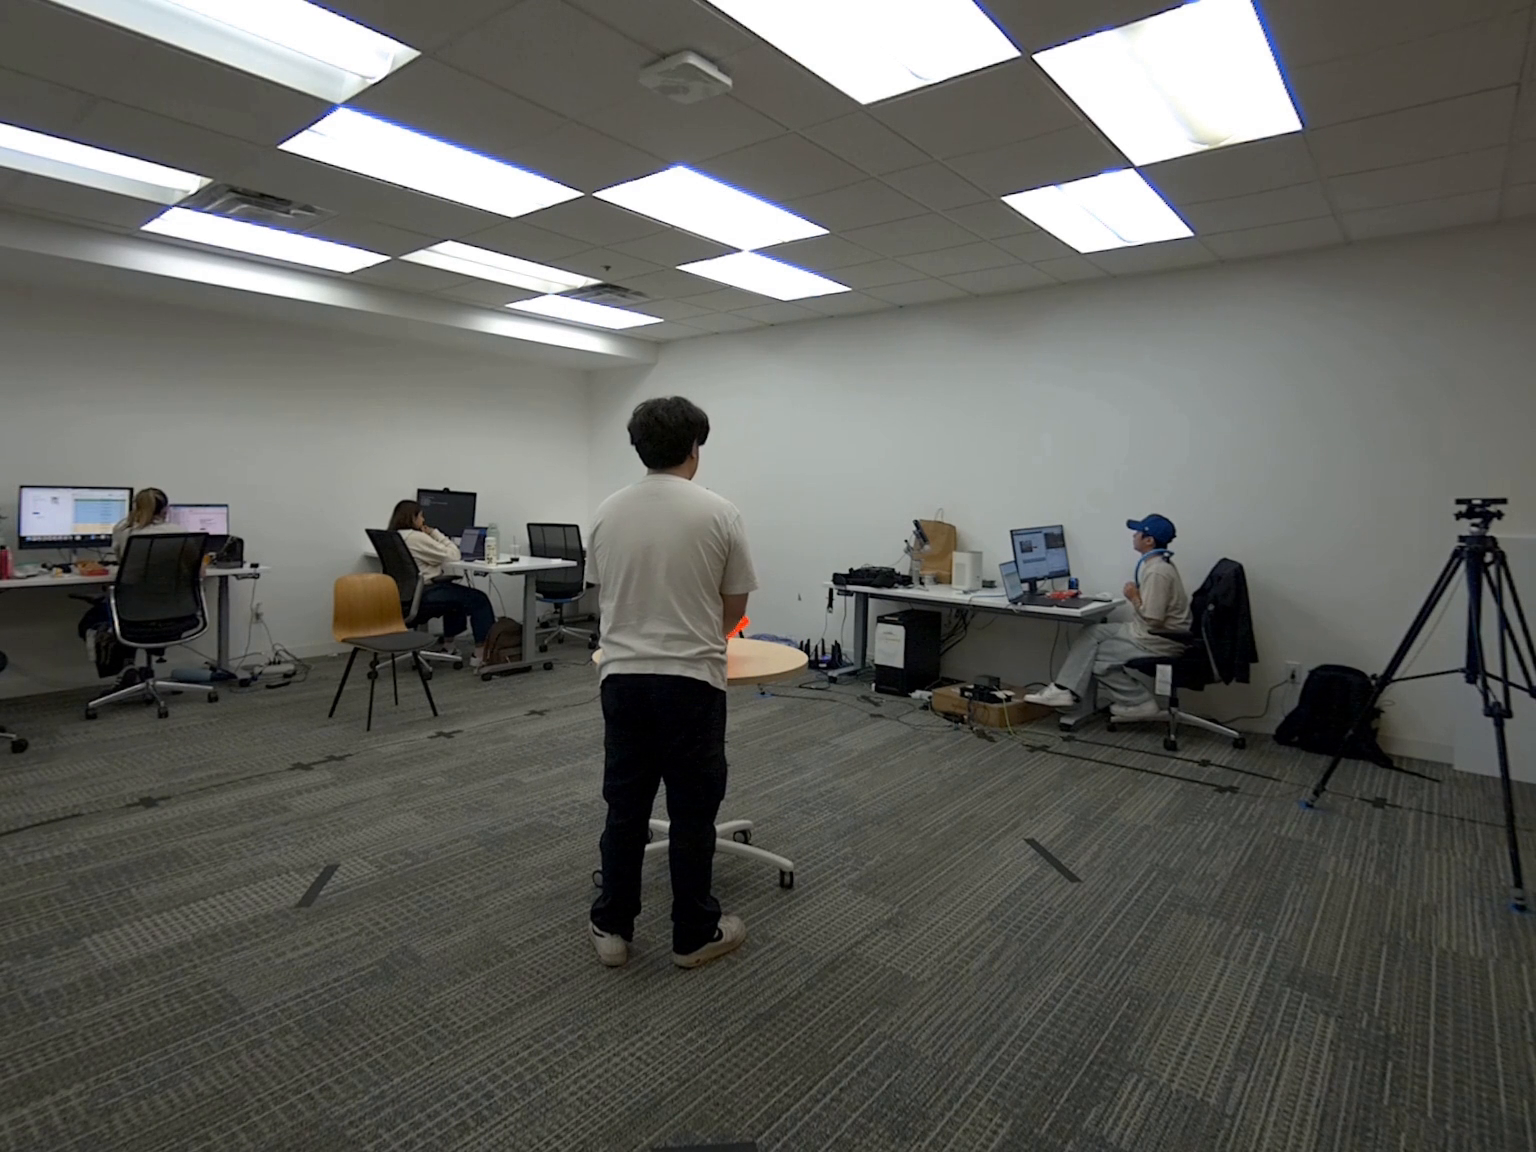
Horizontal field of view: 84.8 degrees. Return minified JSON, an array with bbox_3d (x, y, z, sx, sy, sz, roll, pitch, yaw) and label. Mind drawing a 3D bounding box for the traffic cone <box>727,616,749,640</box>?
[{"bbox_3d":[-0.211,0.239,2.878,0.206,0.199,0.390,-31,19,14],"label":"traffic cone"}]
